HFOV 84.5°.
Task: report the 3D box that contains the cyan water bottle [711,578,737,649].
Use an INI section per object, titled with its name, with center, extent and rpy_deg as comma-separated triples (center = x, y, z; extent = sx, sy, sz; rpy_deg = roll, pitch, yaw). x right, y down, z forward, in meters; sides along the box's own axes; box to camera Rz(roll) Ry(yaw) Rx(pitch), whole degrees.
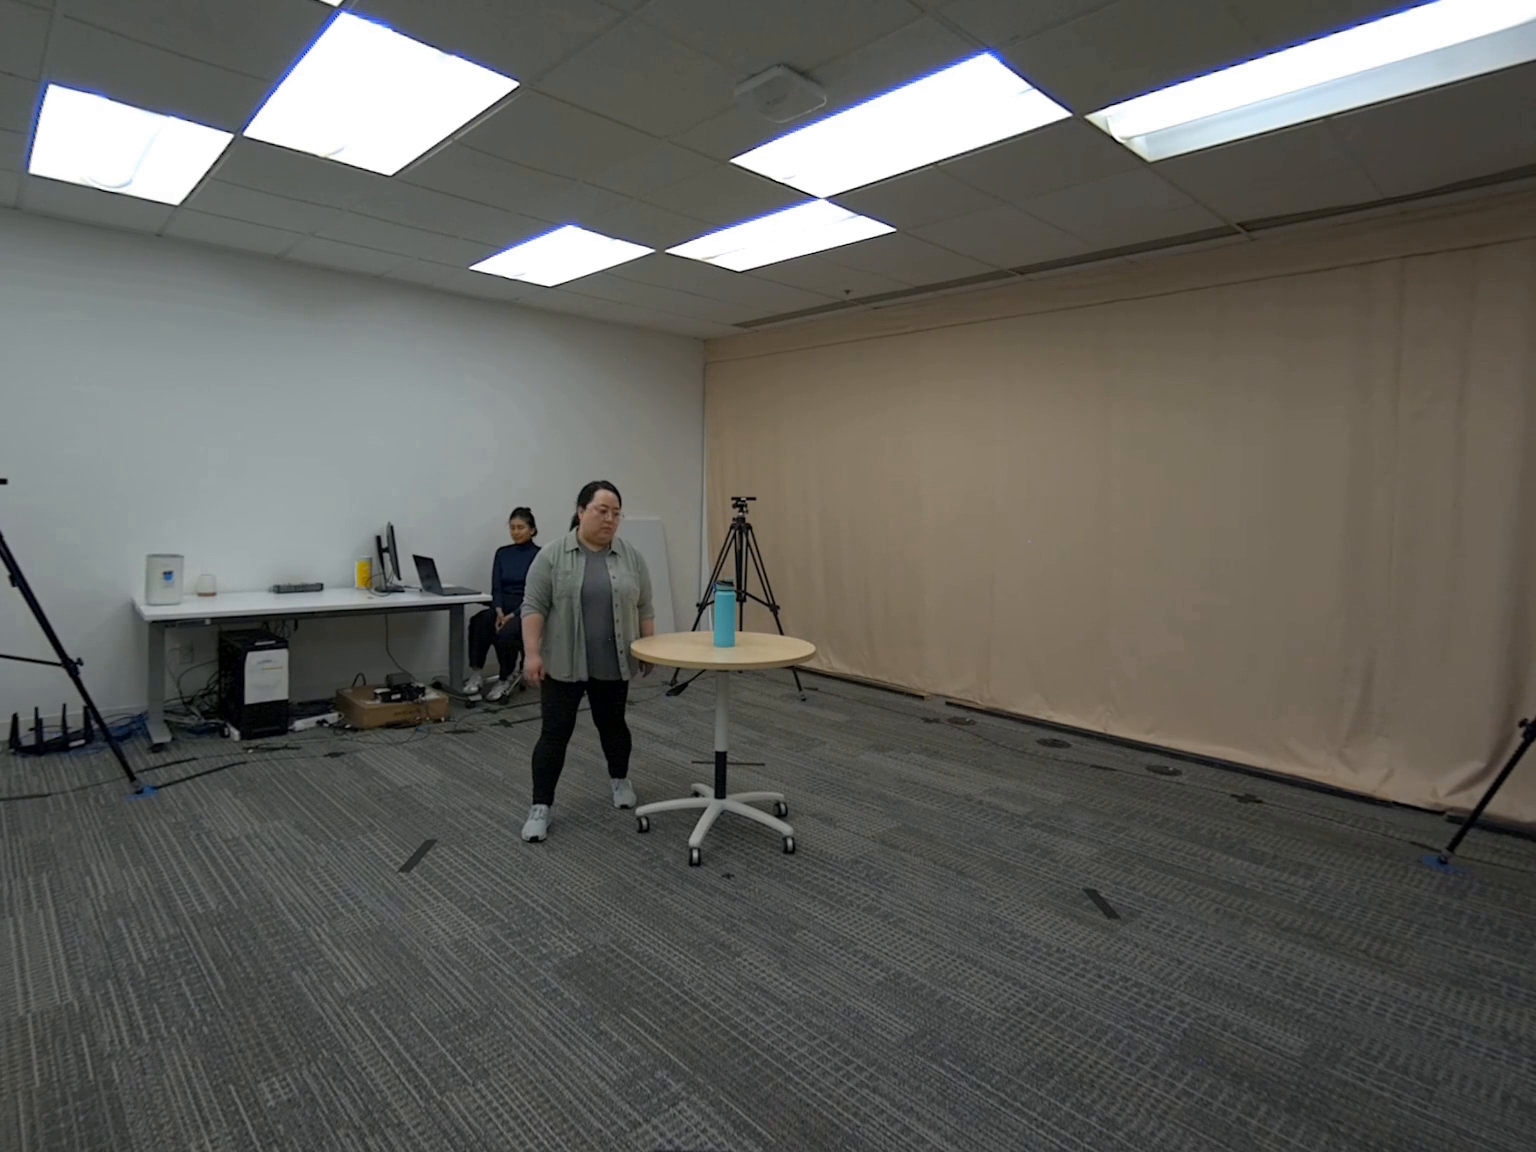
[cyan water bottle]
center = -0.188, 0.150, 3.486
extent = 0.092, 0.282, 0.092
rpy_deg = -2, 4, -1
